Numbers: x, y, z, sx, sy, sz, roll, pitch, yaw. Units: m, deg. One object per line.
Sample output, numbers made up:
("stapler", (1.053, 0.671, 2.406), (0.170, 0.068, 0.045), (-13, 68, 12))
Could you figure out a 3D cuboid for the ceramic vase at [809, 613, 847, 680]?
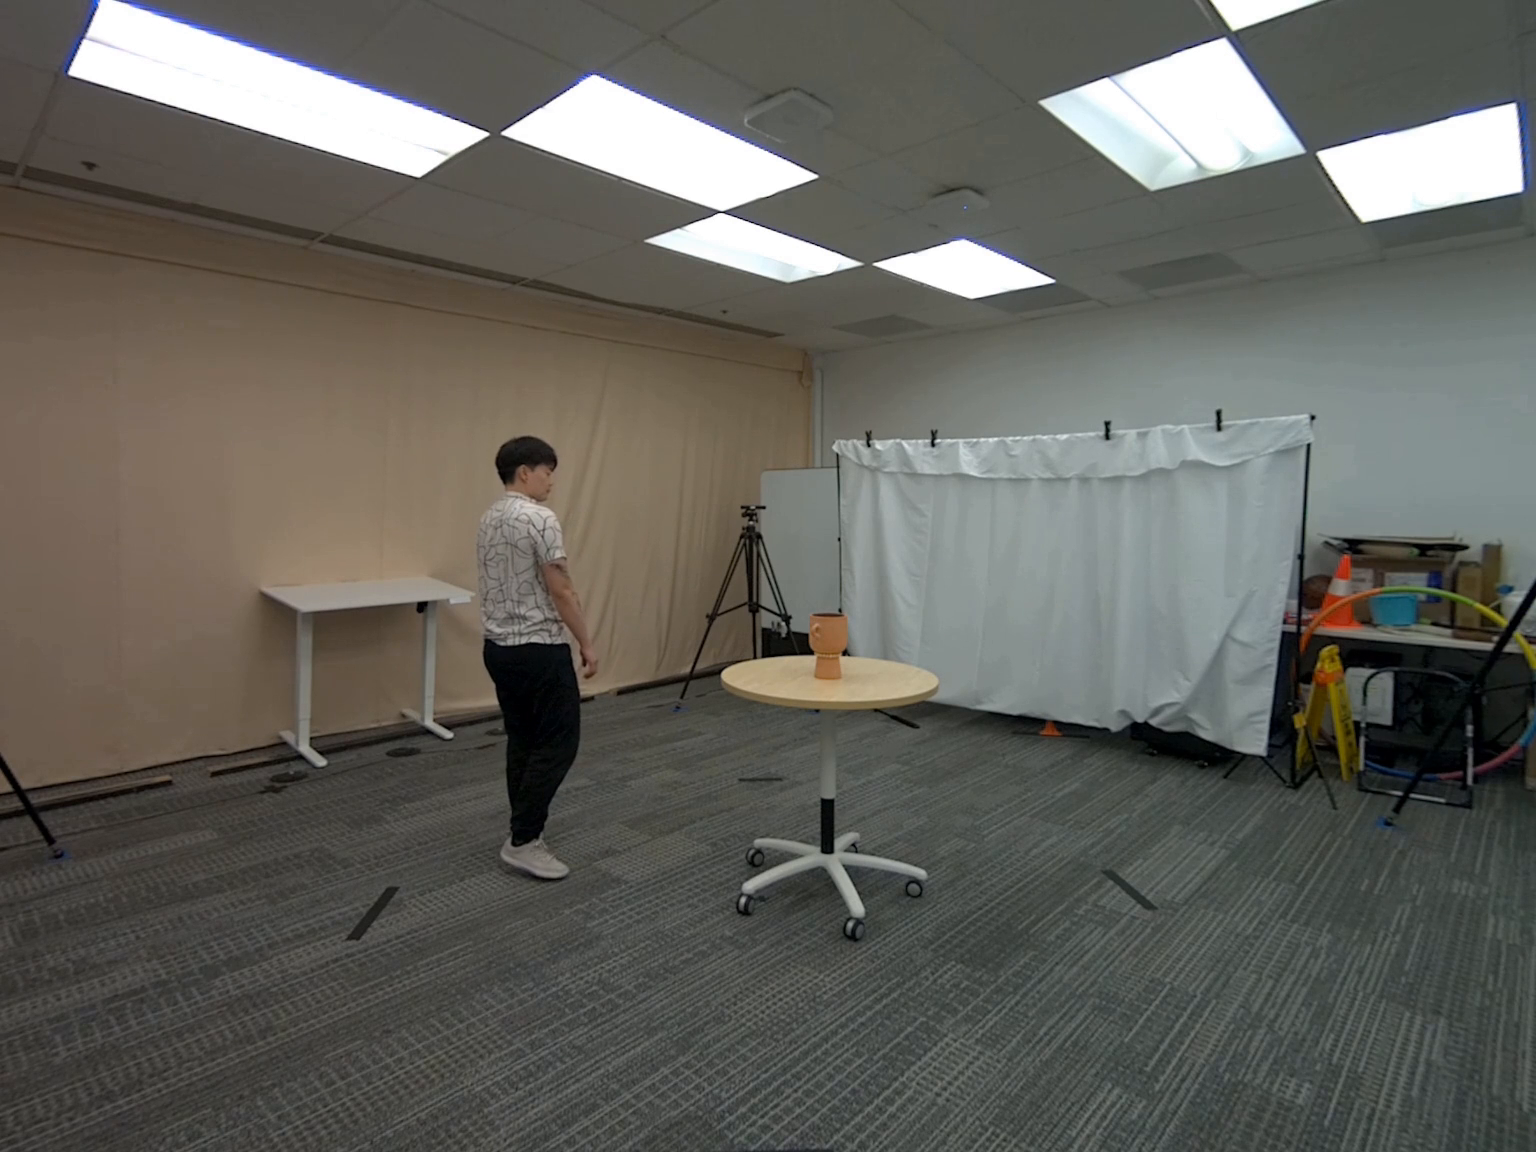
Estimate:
("ceramic vase", (0.222, 0.251, 2.979), (0.157, 0.219, 0.136), (2, 3, -12))
